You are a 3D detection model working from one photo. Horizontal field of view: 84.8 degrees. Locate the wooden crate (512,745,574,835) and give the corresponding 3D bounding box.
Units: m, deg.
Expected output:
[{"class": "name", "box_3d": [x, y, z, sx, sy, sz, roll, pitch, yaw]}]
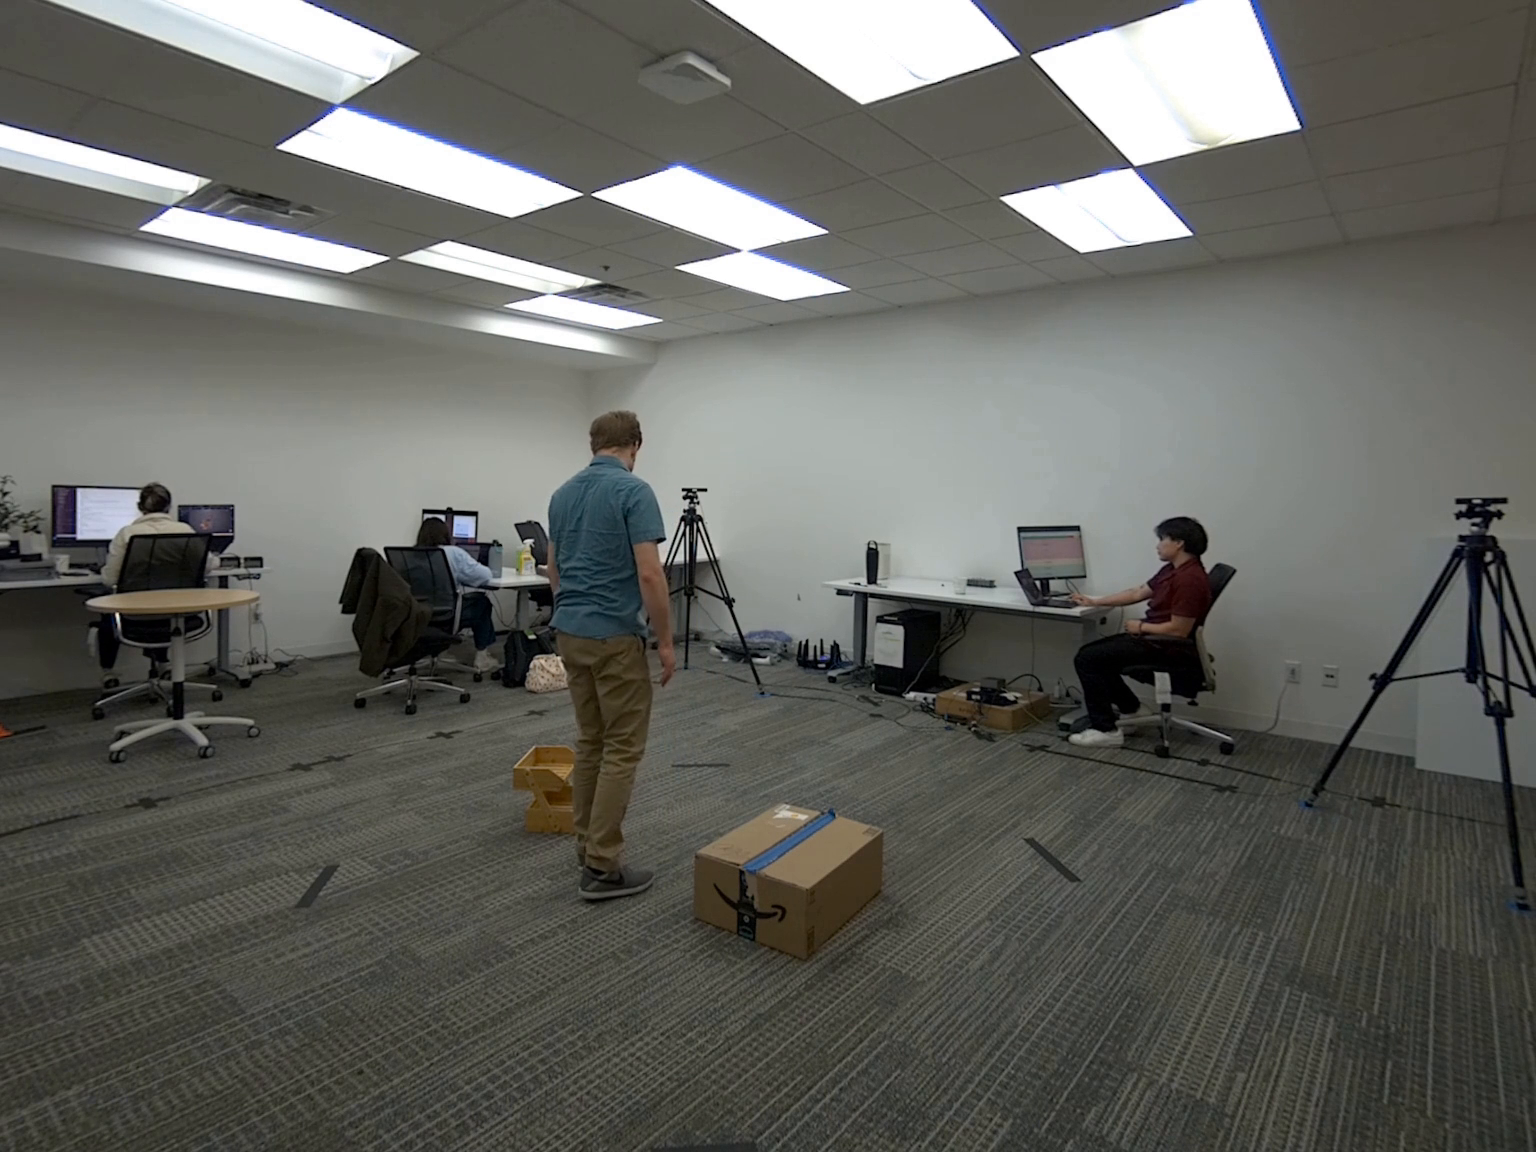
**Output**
[{"class": "wooden crate", "box_3d": [-0.884, 0.879, 3.566, 0.303, 0.272, 0.325, 1, 4, 2]}]
